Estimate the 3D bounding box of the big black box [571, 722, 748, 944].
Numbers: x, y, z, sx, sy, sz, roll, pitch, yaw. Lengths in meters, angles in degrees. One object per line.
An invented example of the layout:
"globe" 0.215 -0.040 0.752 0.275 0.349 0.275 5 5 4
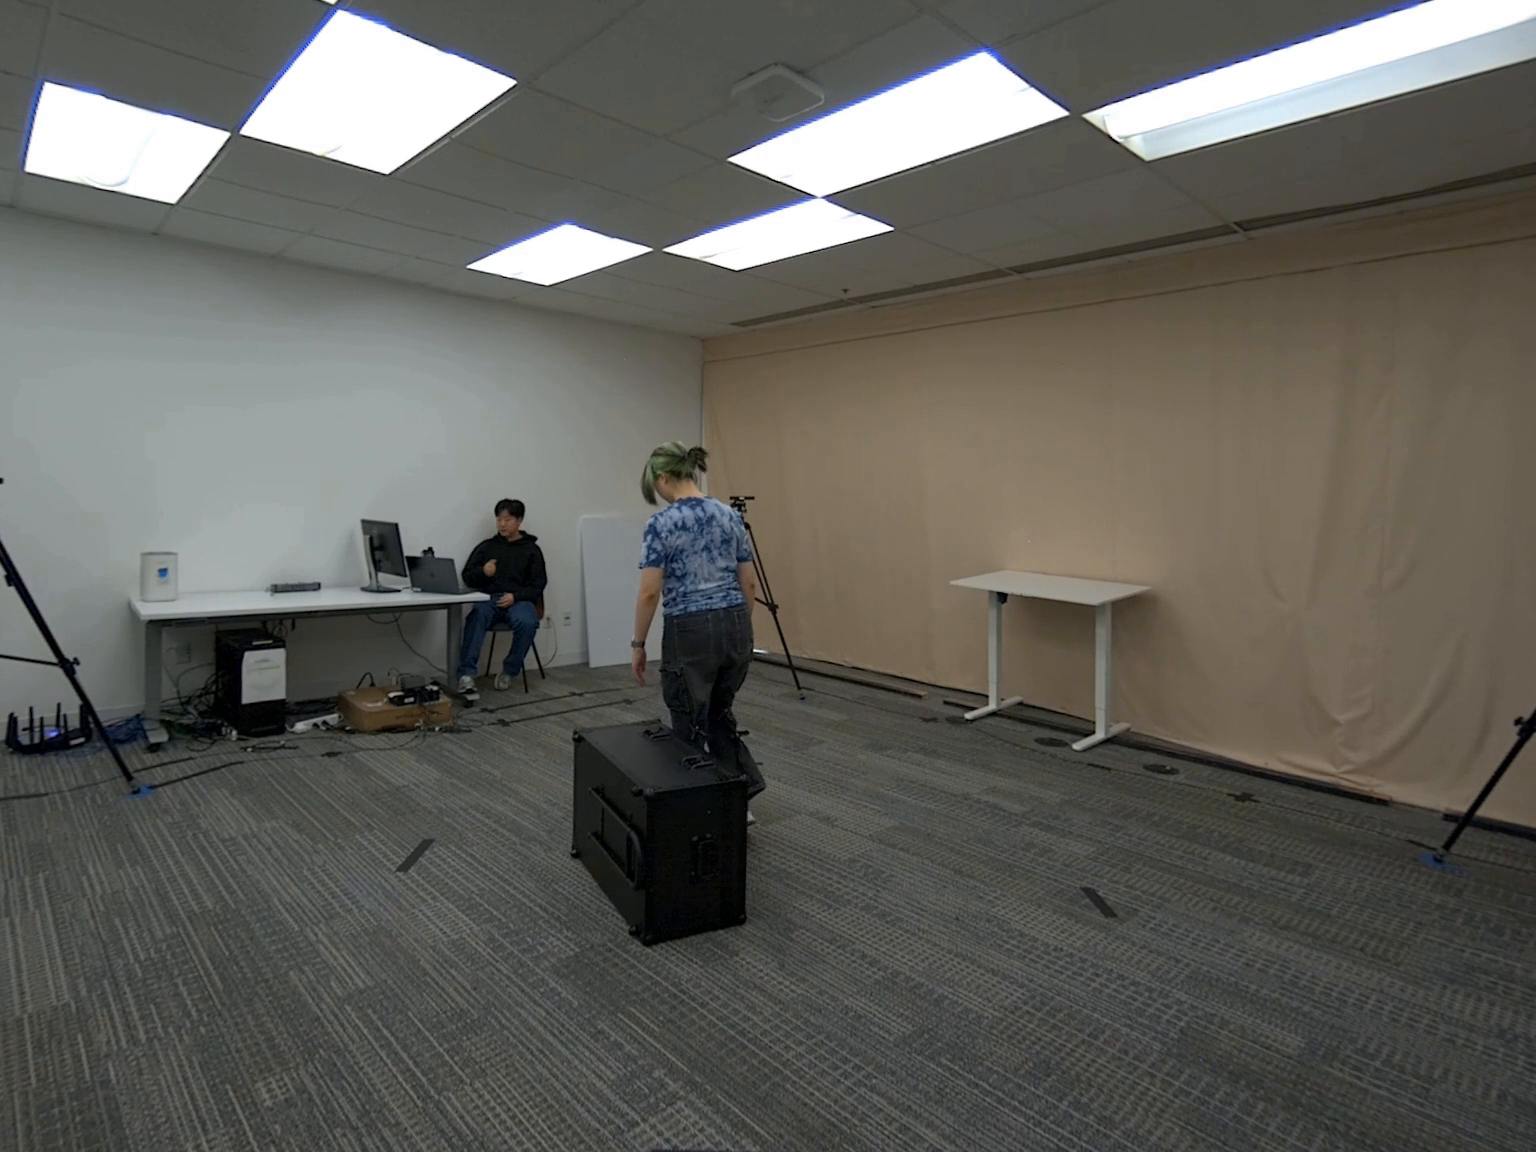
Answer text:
"big black box" -0.449 0.862 3.017 0.389 0.520 0.880 -1 5 -28
